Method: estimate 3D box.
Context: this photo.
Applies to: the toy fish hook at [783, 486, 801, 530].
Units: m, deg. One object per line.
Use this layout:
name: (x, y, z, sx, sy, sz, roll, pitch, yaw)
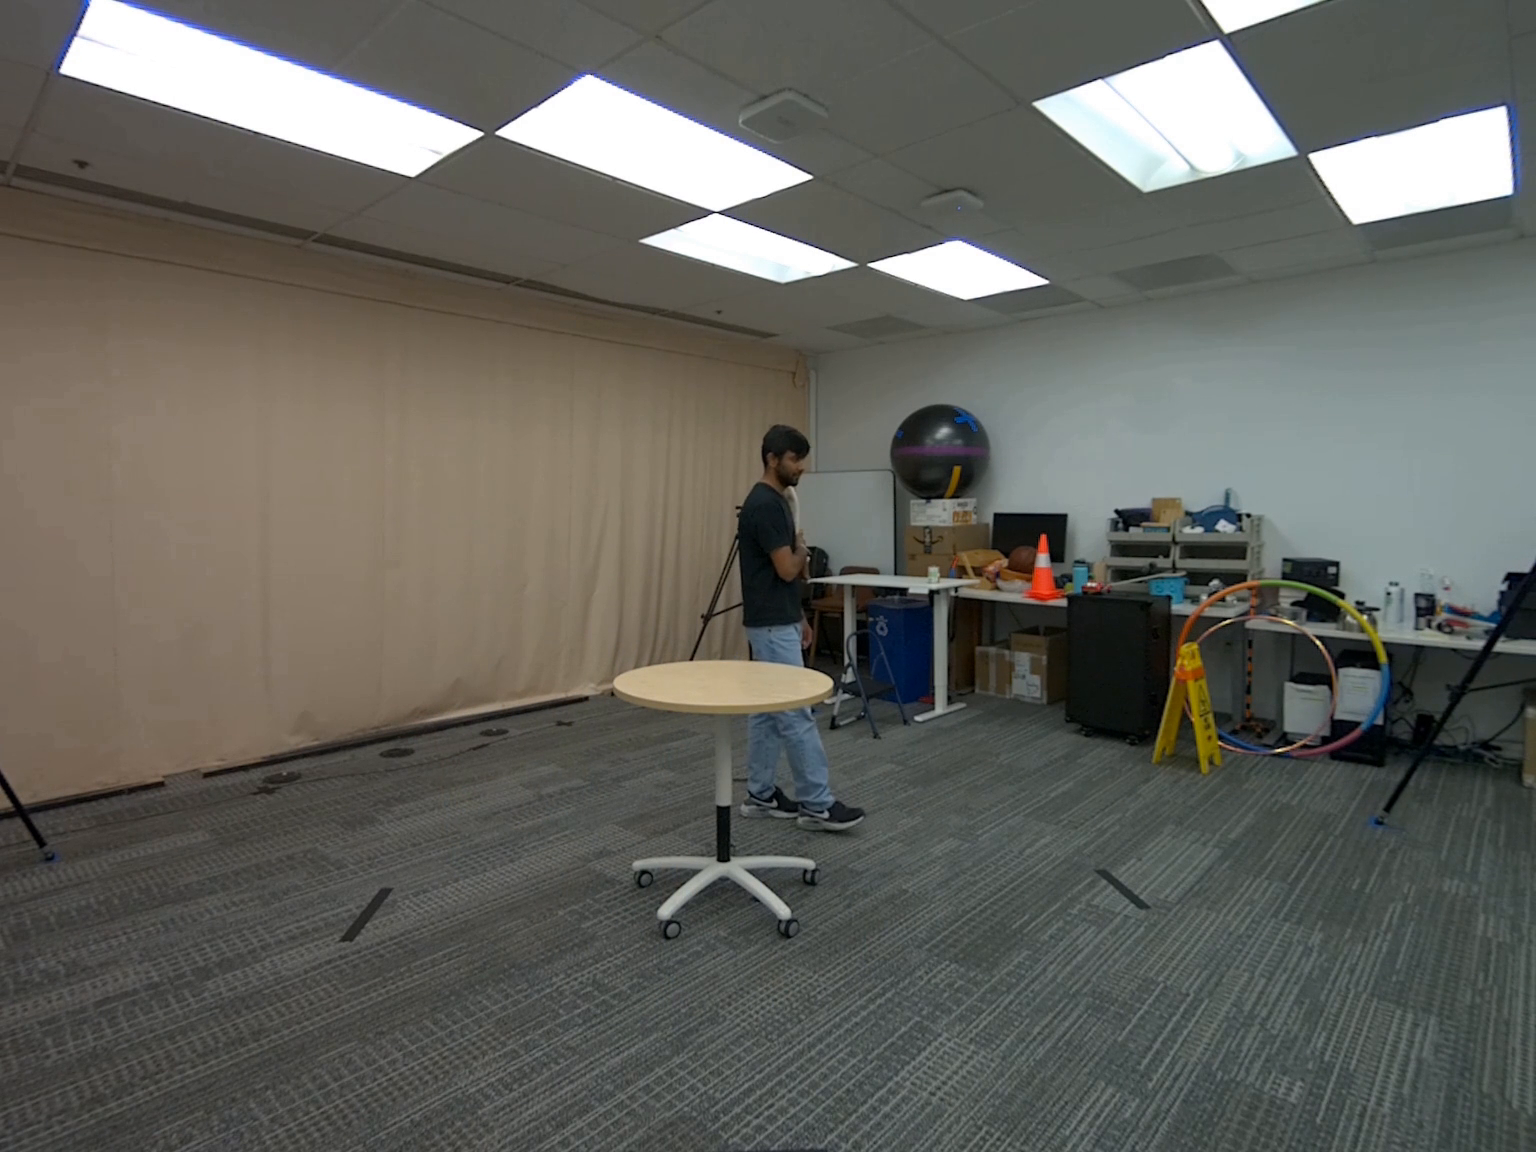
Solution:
toy fish hook: (0.072, -0.198, 3.877, 0.229, 0.507, 0.047, -15, -2, 29)
